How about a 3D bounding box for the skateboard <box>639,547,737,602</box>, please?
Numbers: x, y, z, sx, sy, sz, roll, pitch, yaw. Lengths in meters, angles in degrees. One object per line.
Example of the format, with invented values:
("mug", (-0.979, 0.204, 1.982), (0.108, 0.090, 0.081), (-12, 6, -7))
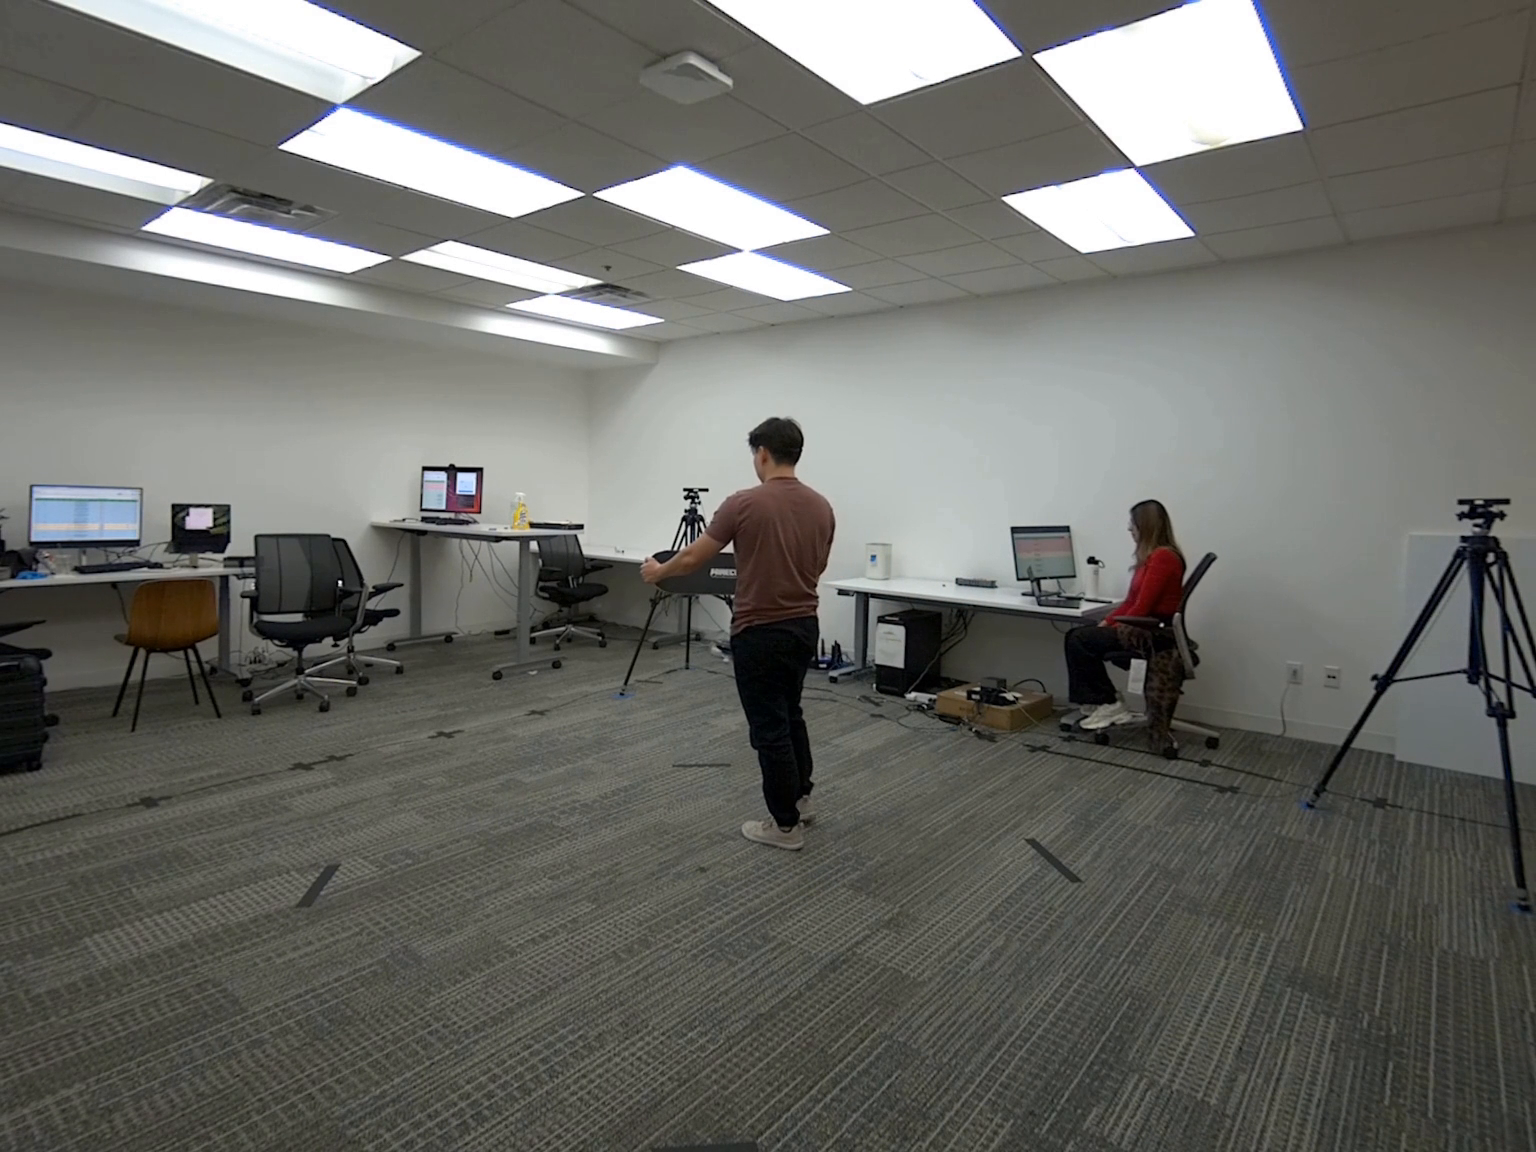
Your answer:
("skateboard", (-0.179, 0.000, 3.738), (0.765, 0.197, 0.111), (2, -21, -26))
